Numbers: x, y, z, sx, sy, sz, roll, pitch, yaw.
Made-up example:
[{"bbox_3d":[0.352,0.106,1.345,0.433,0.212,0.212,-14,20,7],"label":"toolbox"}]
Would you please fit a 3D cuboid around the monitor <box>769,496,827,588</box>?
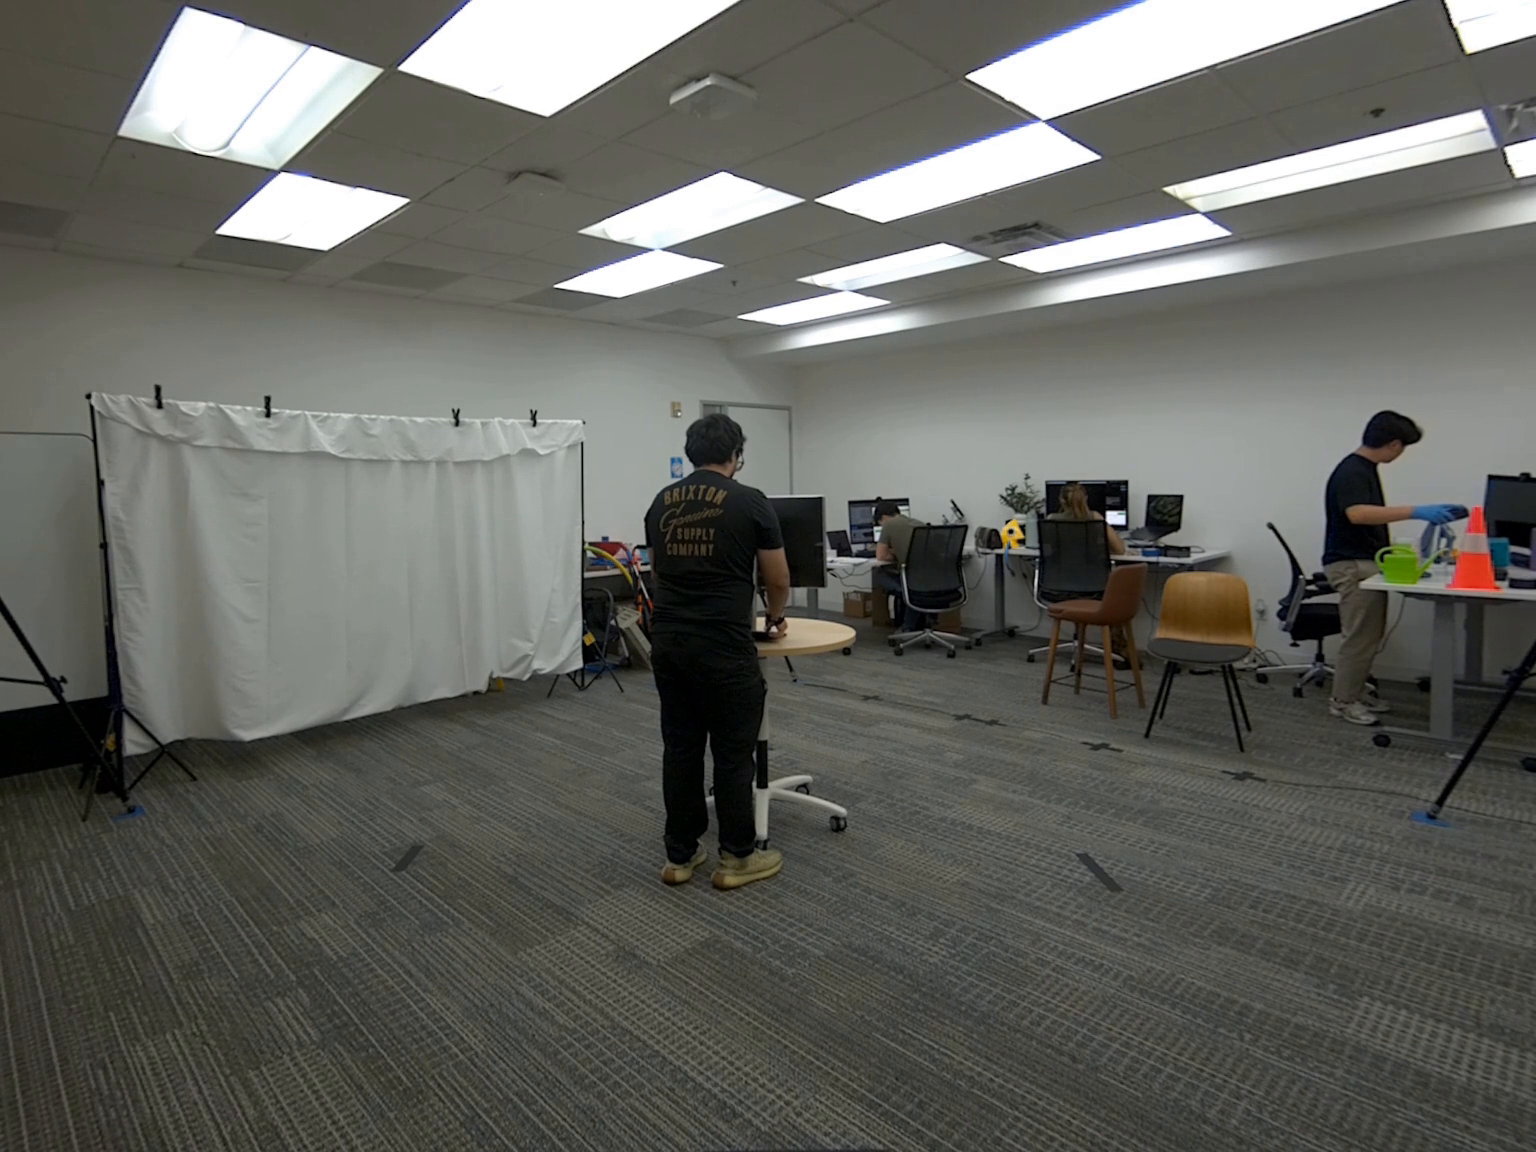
[{"bbox_3d":[-0.063,-0.040,3.334,0.576,0.553,0.206,1,2,21],"label":"monitor"}]
